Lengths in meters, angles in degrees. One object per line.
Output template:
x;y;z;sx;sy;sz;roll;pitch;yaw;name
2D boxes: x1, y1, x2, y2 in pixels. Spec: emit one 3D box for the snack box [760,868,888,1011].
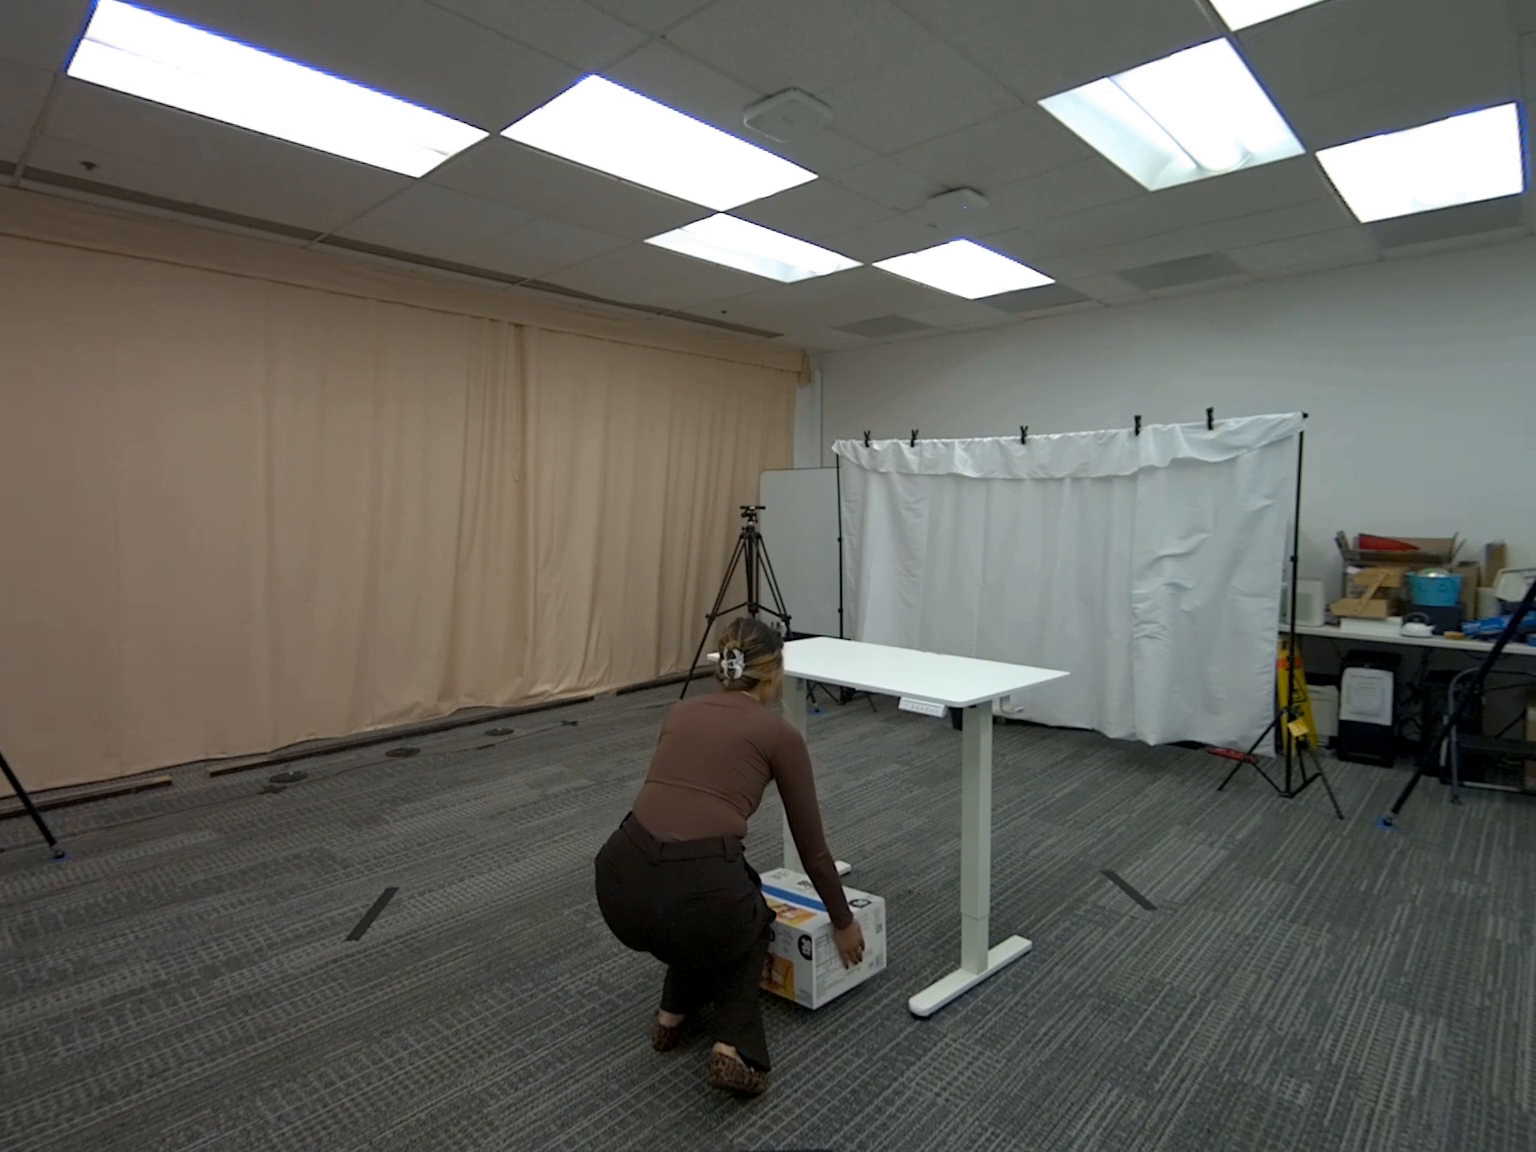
0.084;1.044;2.472;0.418;0.206;0.329;-2;-1;43;snack box
